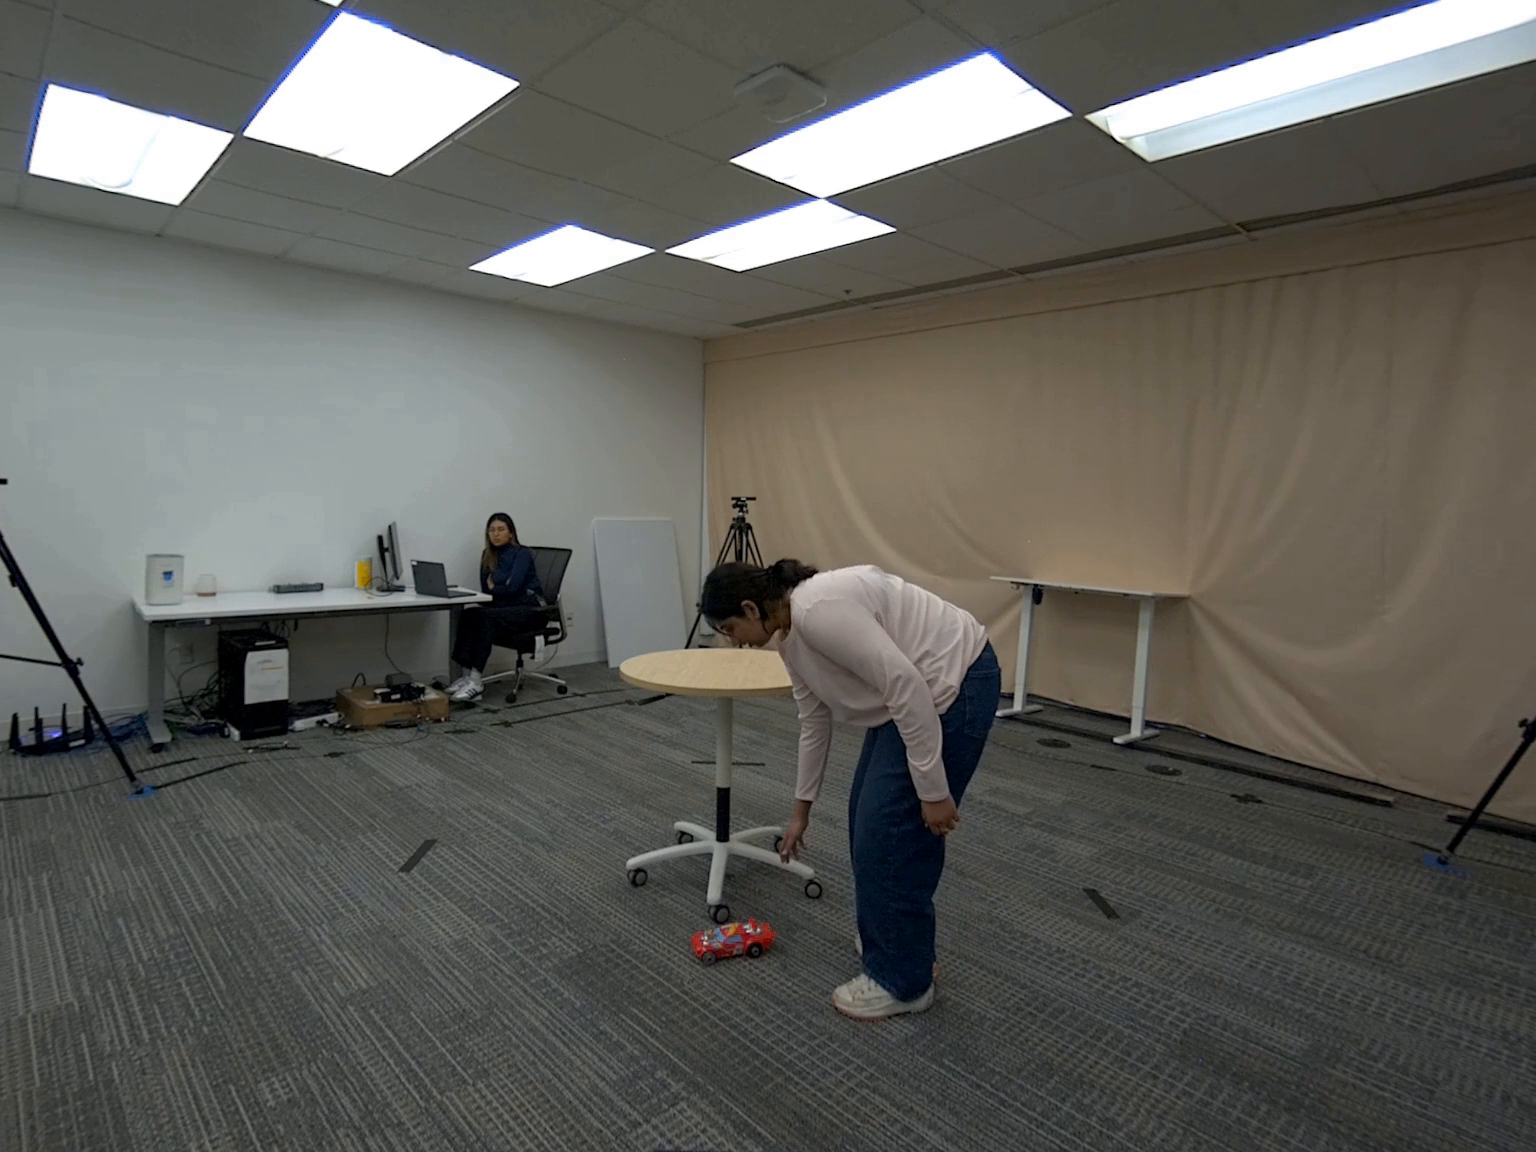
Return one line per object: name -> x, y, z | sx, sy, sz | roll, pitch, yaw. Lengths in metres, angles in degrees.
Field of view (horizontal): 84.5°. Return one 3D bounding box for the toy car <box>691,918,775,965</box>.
toy car -> -0.111, 1.125, 2.577 | 0.252, 0.083, 0.132 | -11, 8, -15
